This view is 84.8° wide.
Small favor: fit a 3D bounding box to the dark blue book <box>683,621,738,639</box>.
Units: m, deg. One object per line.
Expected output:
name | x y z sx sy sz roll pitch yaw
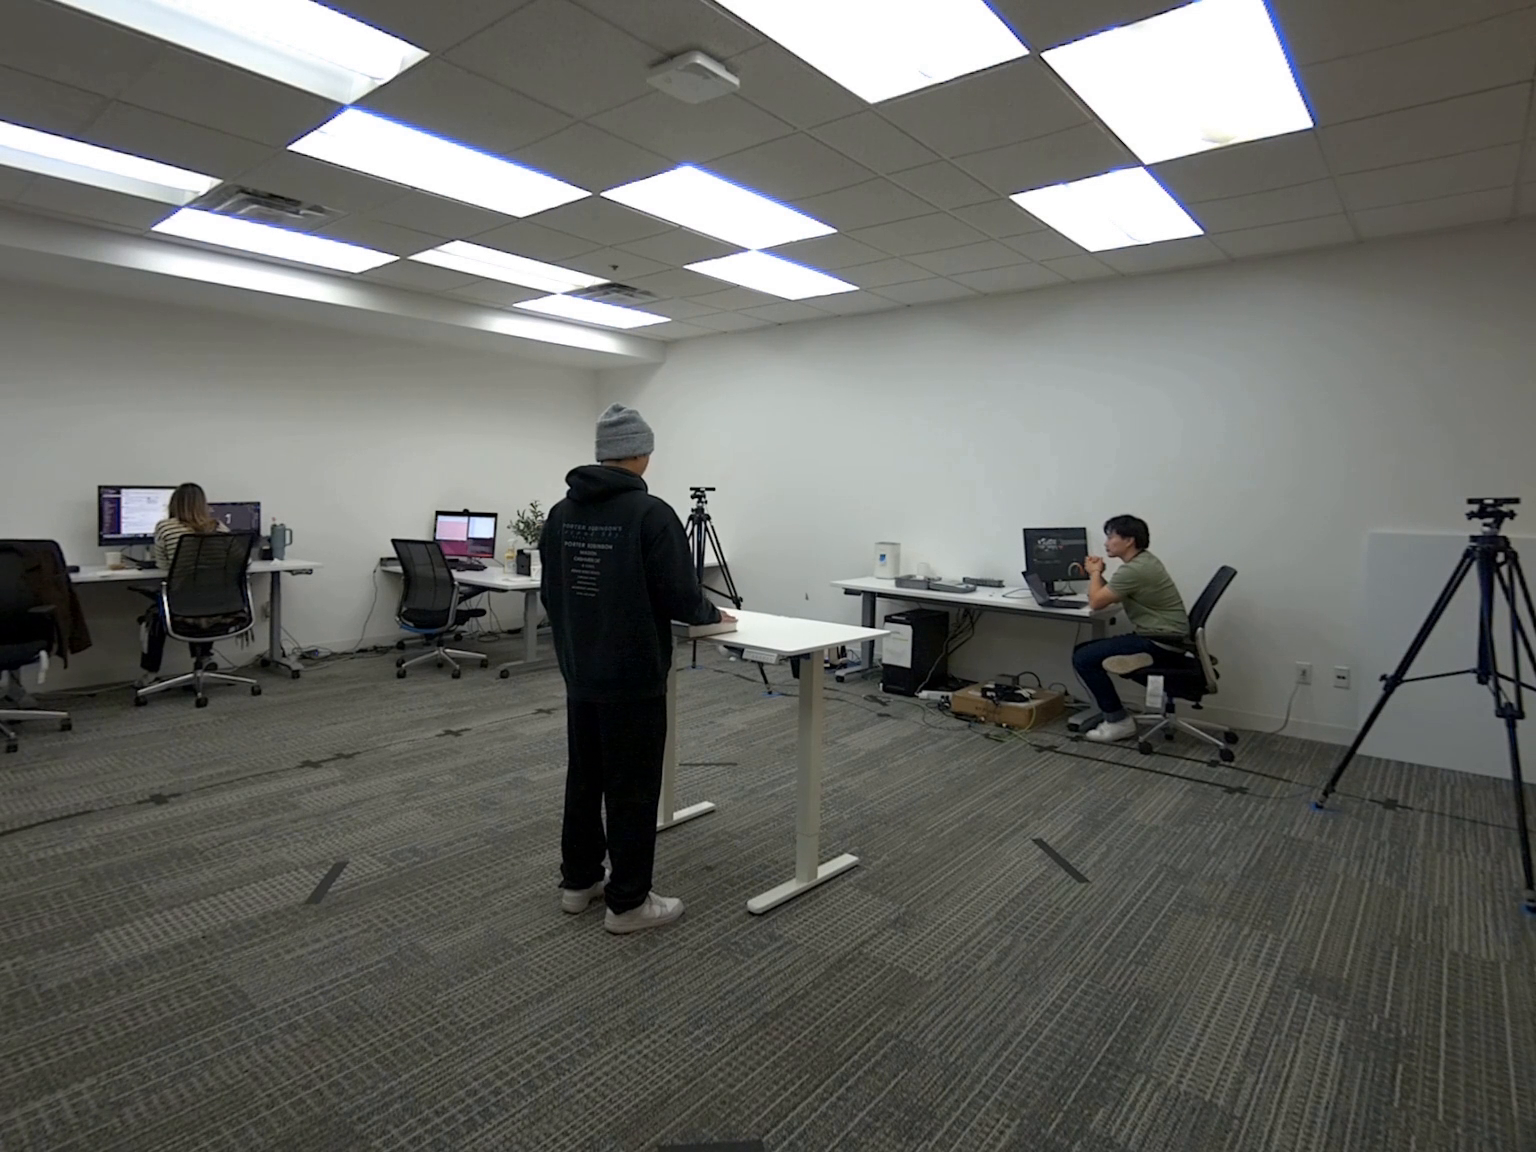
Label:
dark blue book | -0.253 0.175 2.974 0.169 0.045 0.238 6 7 41
